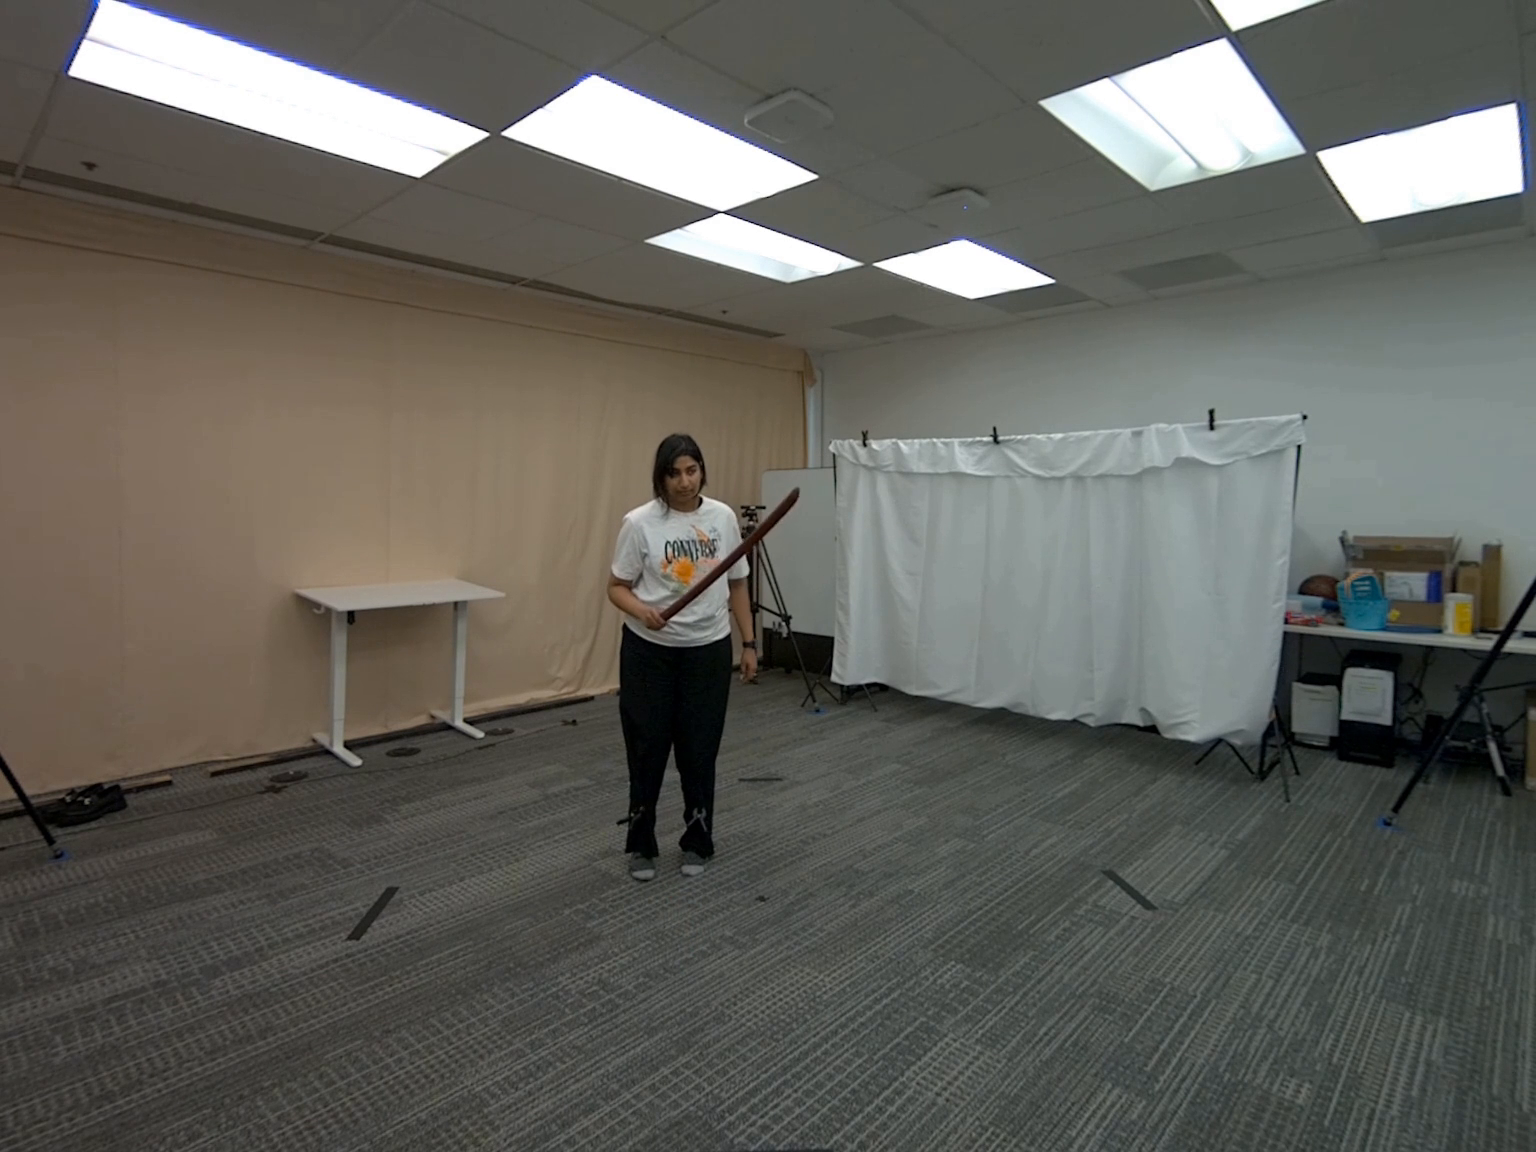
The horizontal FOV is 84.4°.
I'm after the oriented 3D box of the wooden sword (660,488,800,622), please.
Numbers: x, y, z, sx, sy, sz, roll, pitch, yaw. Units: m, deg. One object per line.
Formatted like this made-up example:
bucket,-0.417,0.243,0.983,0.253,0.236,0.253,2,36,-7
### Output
wooden sword,-0.176,-0.006,2.622,0.050,0.024,1.034,15,-32,-24
